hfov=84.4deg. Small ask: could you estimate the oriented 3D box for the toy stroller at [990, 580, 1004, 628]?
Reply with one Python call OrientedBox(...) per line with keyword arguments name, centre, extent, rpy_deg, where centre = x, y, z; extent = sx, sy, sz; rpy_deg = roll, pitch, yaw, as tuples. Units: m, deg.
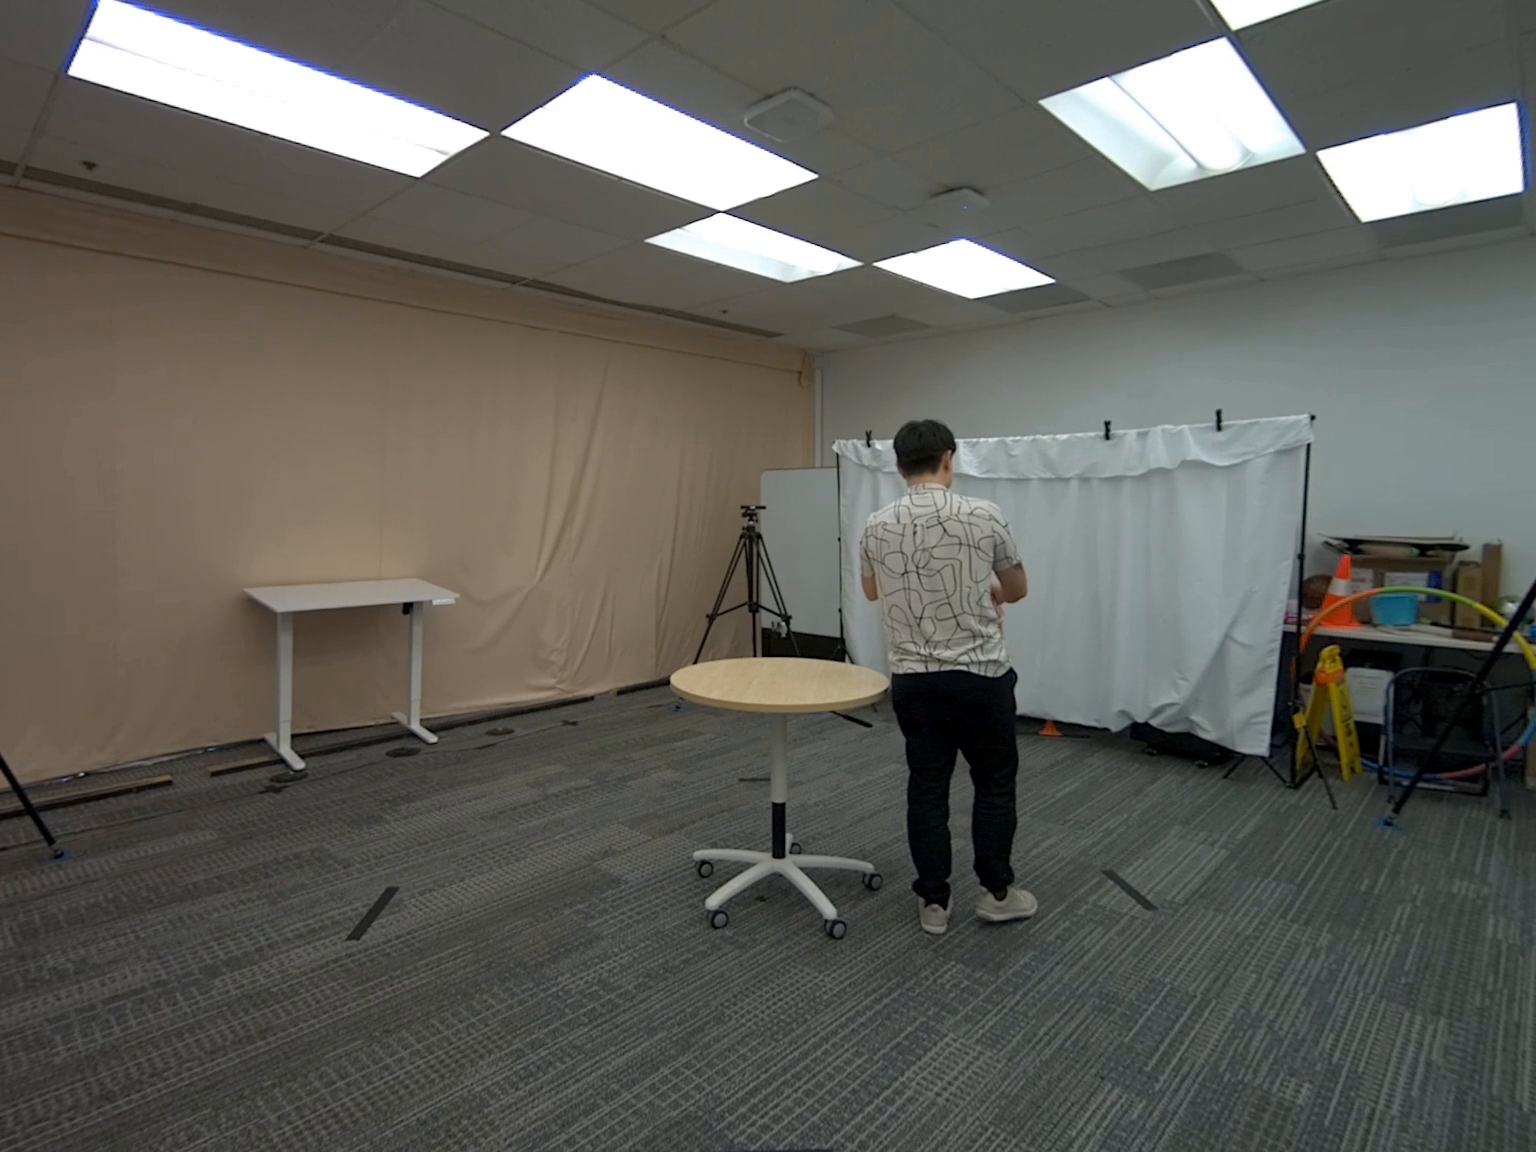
OrientedBox(name="toy stroller", centre=(0.732, 0.132, 3.094), extent=(0.282, 0.529, 0.345), rpy_deg=(-12, 14, 0))
